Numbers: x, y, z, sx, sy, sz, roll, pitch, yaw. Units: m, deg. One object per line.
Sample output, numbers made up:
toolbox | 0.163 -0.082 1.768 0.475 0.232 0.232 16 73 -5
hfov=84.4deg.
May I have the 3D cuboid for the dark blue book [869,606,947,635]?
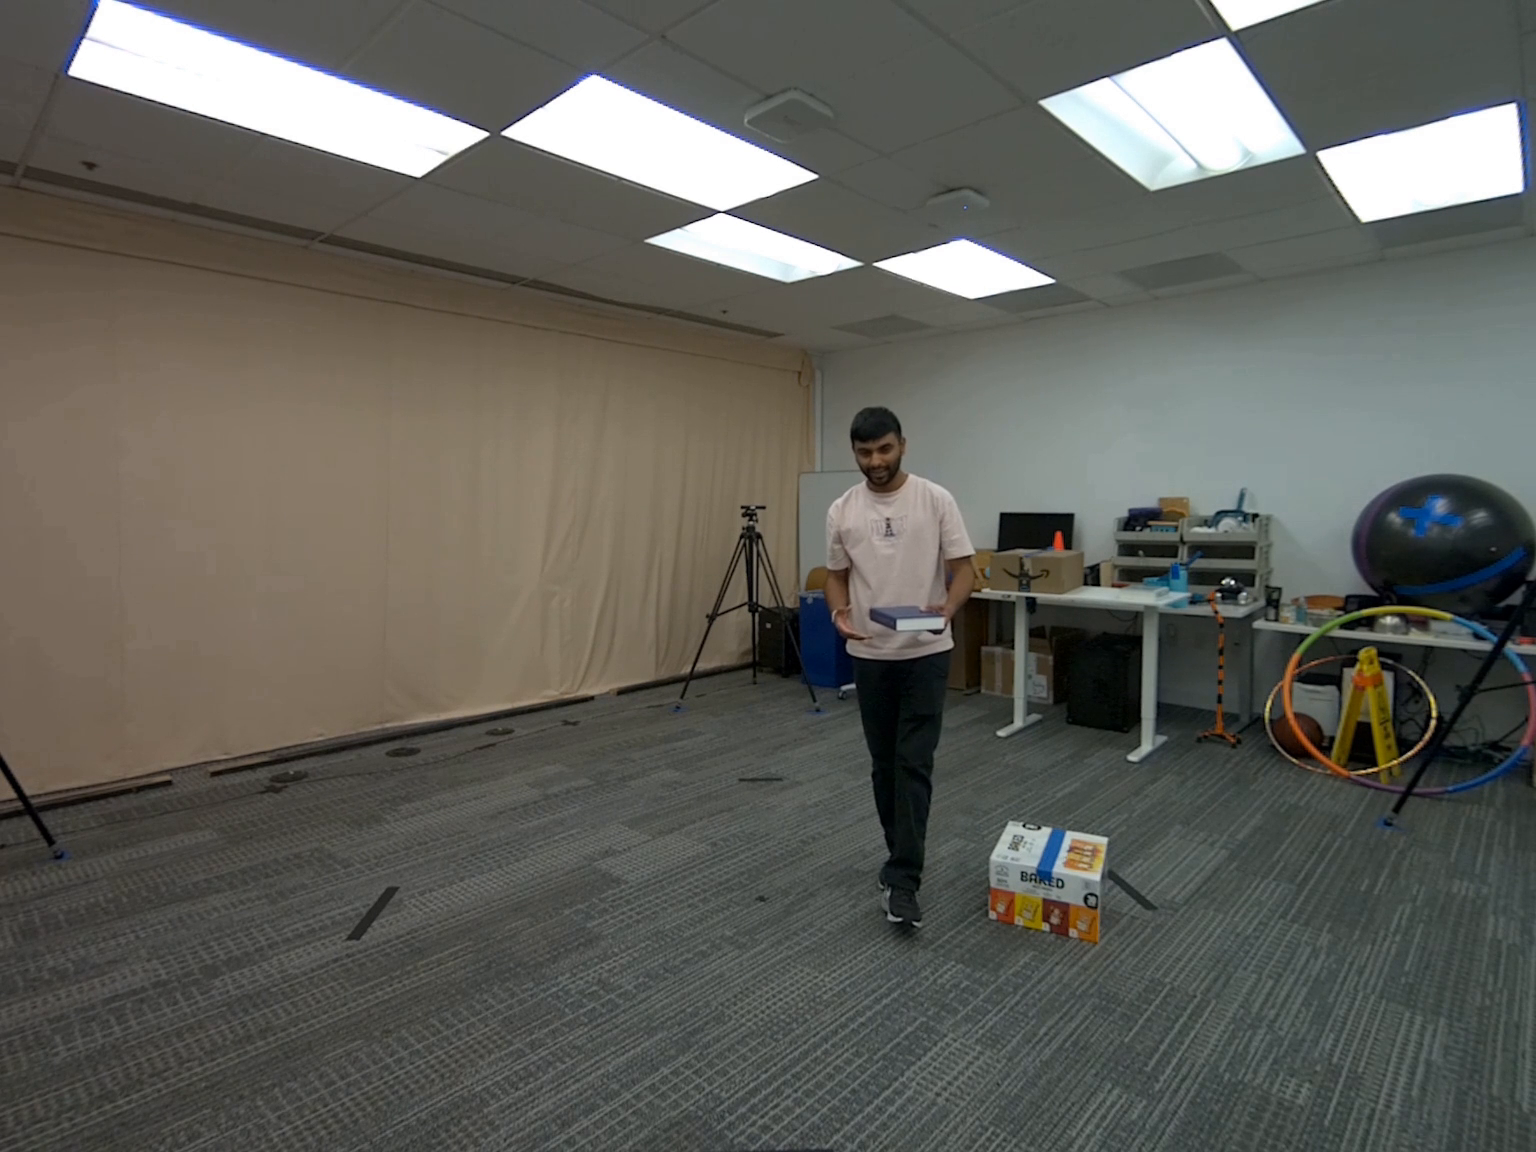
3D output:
dark blue book | 0.435 0.137 2.664 0.162 0.045 0.248 0 5 -10
